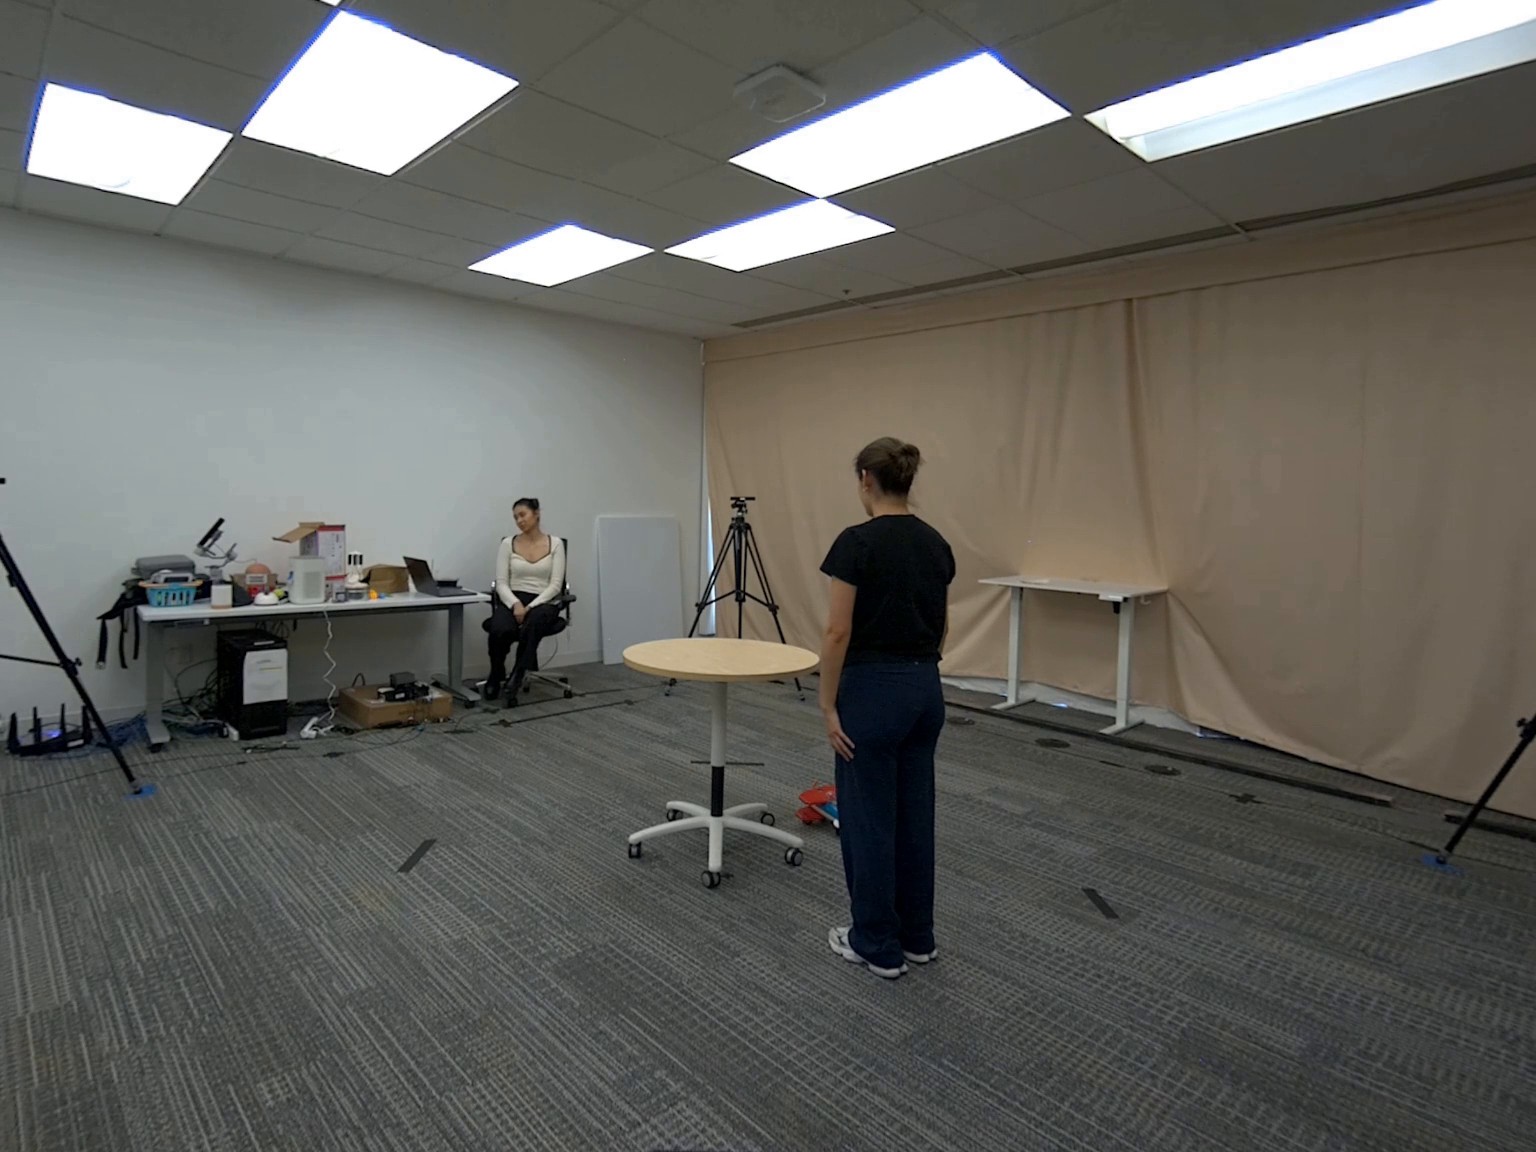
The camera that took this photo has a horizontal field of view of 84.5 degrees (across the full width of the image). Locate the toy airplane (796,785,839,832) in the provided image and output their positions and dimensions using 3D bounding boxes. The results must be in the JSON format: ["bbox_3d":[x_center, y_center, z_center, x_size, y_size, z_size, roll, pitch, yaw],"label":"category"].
[{"bbox_3d":[0.259,1.000,3.589,0.264,0.156,0.247,1,3,23],"label":"toy airplane"}]
